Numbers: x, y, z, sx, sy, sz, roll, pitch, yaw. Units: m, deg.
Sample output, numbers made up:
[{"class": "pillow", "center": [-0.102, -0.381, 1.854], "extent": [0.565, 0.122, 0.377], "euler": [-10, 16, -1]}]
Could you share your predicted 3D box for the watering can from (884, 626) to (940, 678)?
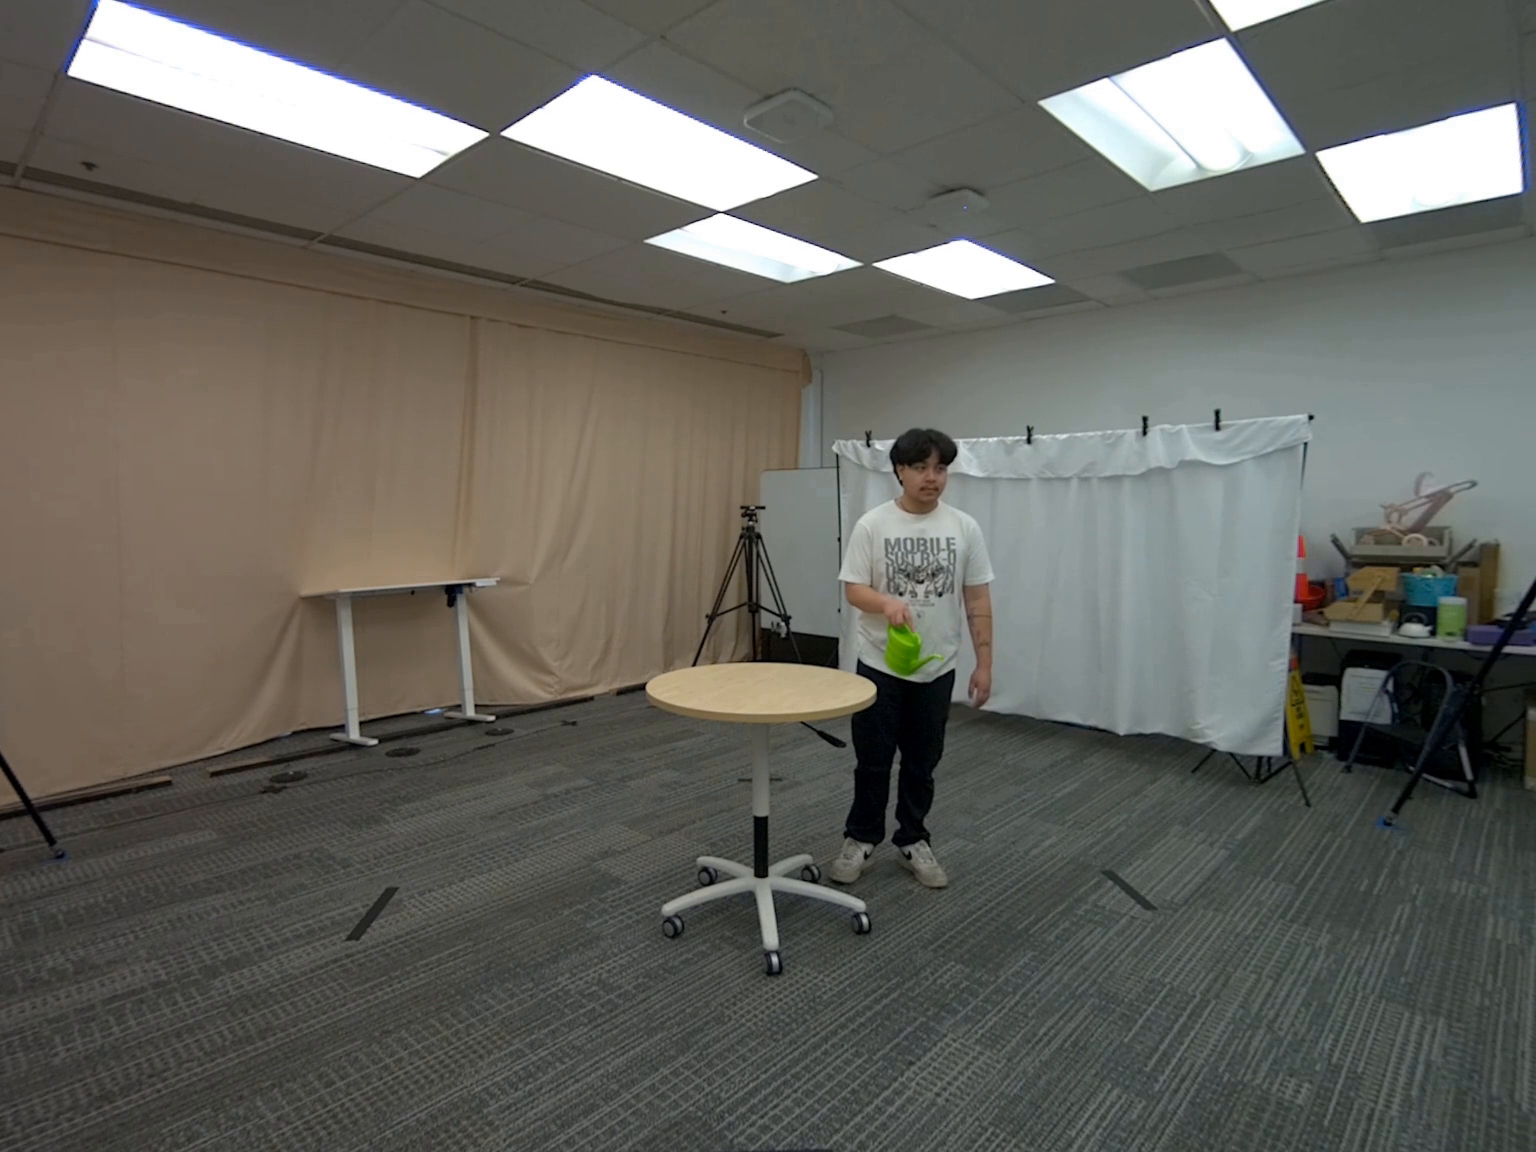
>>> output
[{"class": "watering can", "center": [0.471, 0.262, 2.825], "extent": [0.097, 0.174, 0.285], "euler": [-4, 34, -7]}]
